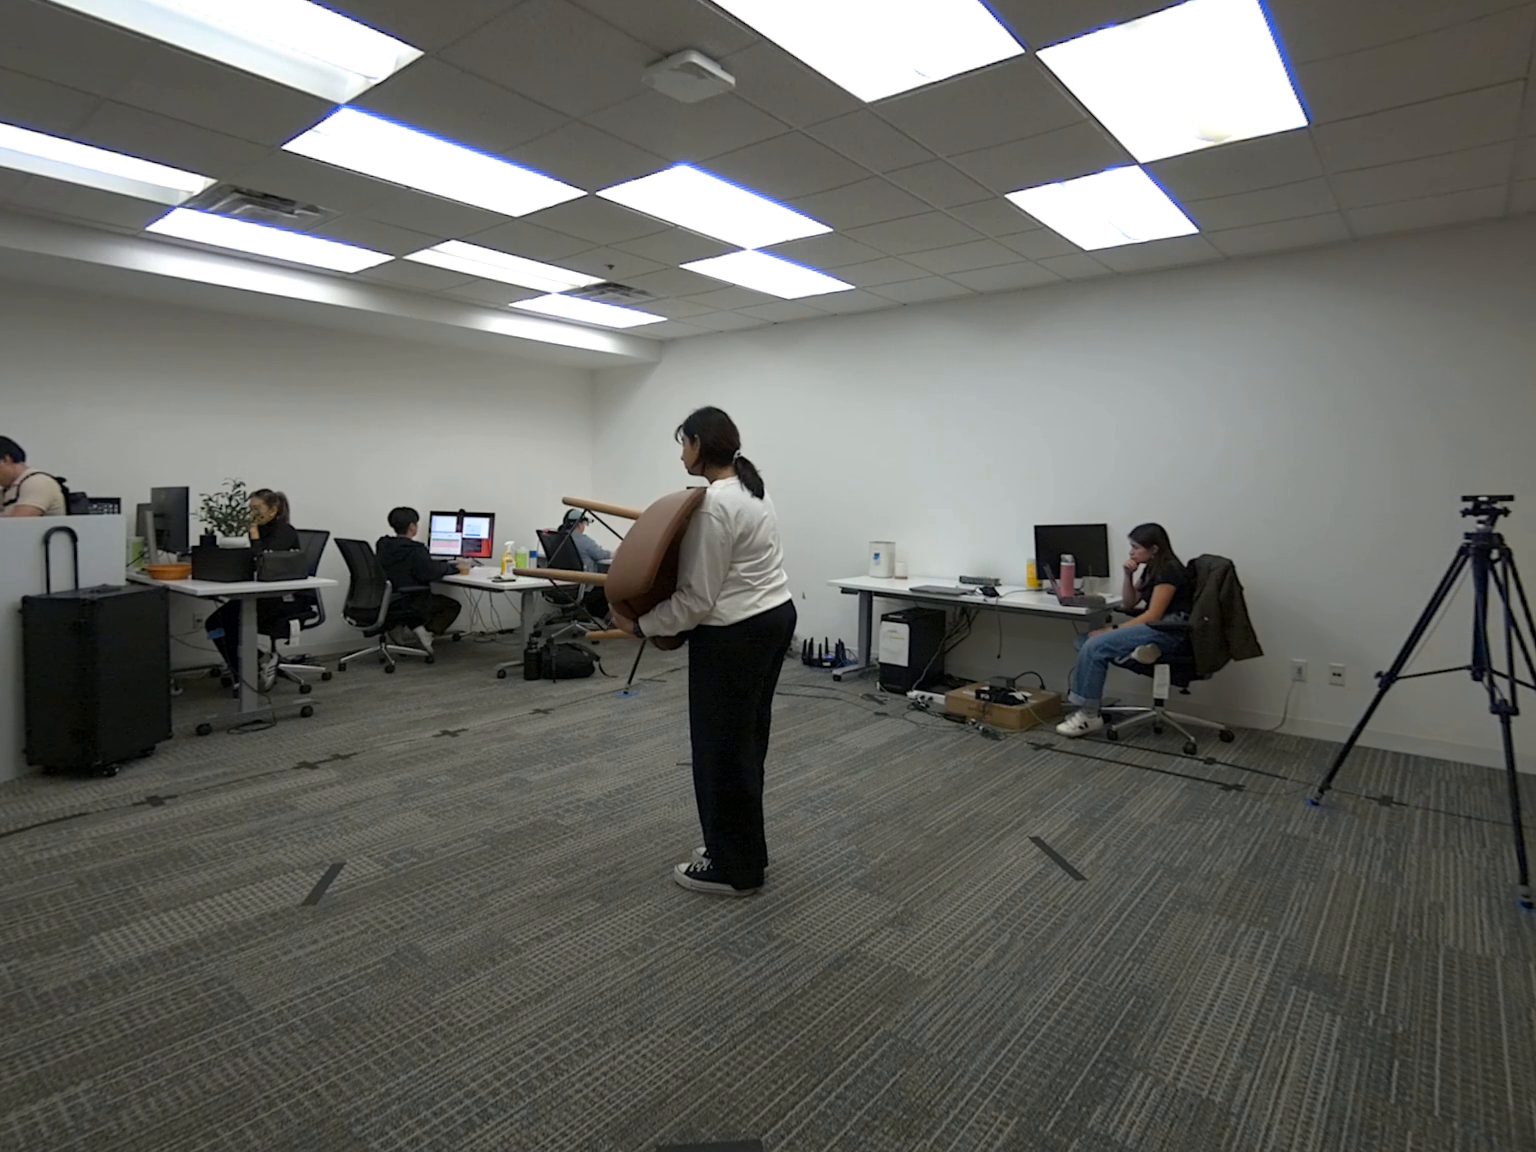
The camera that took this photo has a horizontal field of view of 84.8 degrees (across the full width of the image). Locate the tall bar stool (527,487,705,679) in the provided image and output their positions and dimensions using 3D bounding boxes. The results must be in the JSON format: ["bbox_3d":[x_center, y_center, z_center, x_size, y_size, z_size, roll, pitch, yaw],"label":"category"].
[{"bbox_3d":[-0.475,-0.021,3.073,0.918,0.459,0.450,0,-37,48],"label":"tall bar stool"}]
